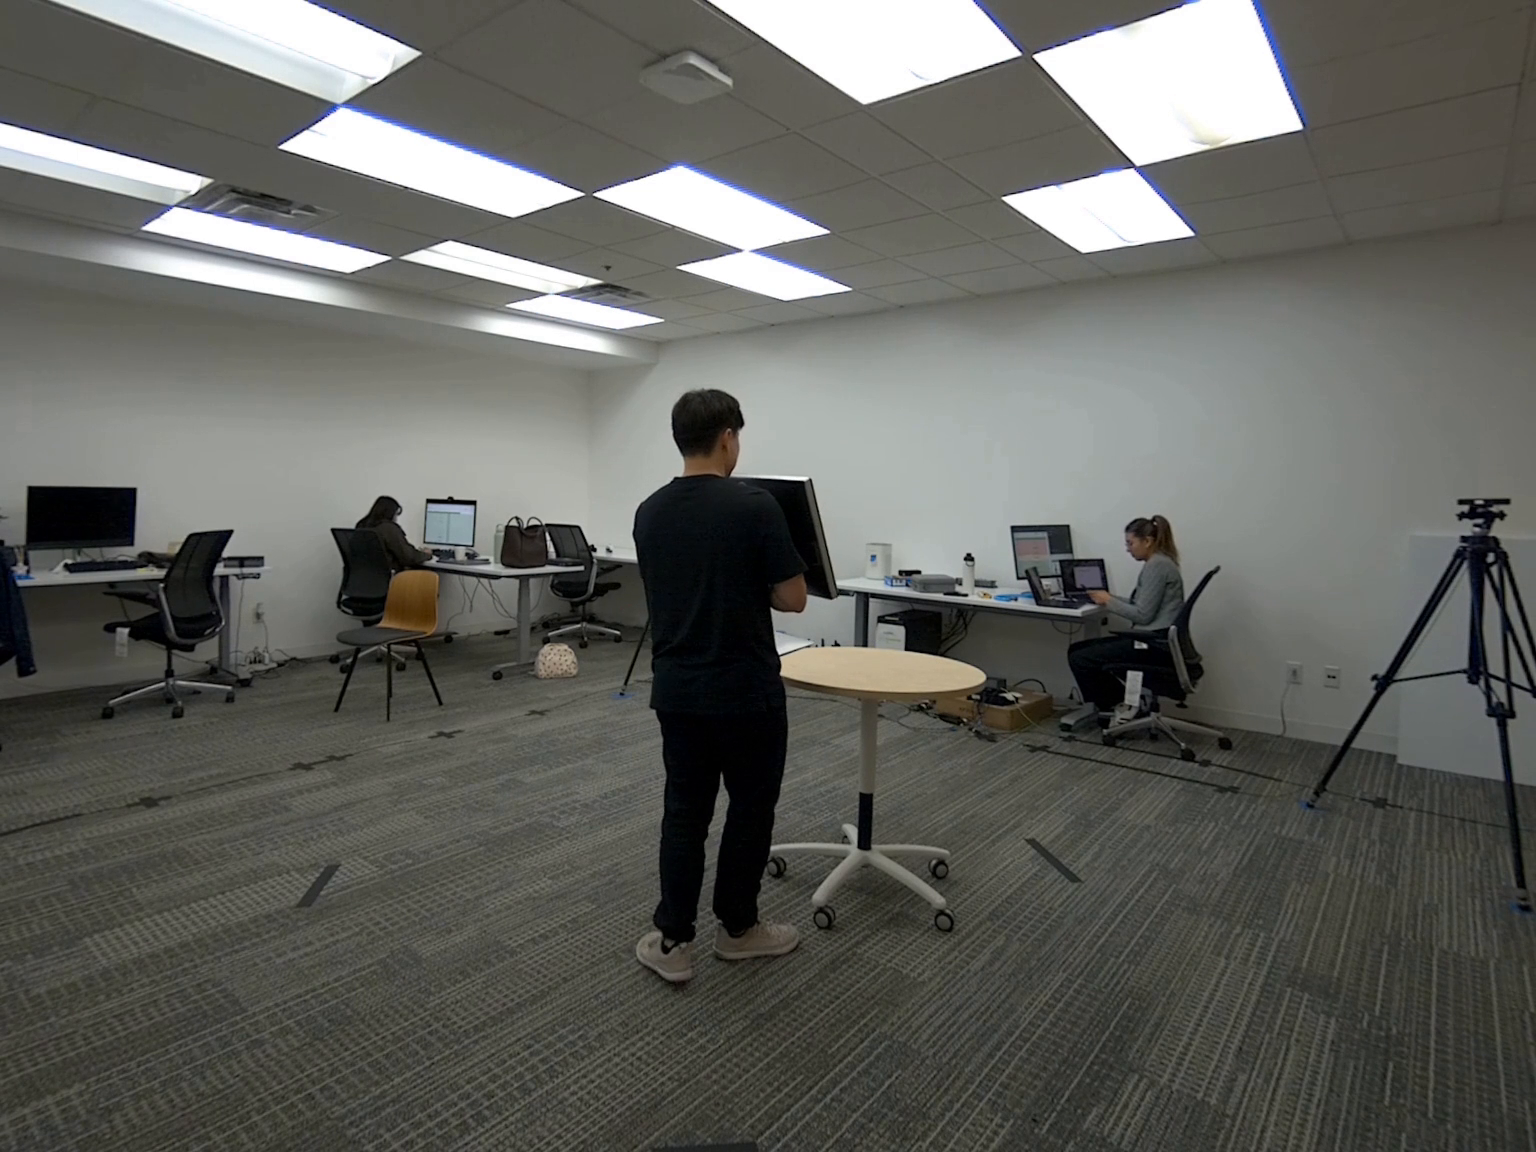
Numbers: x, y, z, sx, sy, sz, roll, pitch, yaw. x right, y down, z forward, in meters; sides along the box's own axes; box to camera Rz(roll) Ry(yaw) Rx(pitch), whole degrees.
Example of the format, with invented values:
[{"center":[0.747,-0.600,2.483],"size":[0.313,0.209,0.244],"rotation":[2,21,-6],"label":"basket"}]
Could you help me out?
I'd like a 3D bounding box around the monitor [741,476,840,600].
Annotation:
[{"center":[-0.046,-0.044,2.593],"size":[0.182,0.517,0.558],"rotation":[-12,14,-37],"label":"monitor"}]
